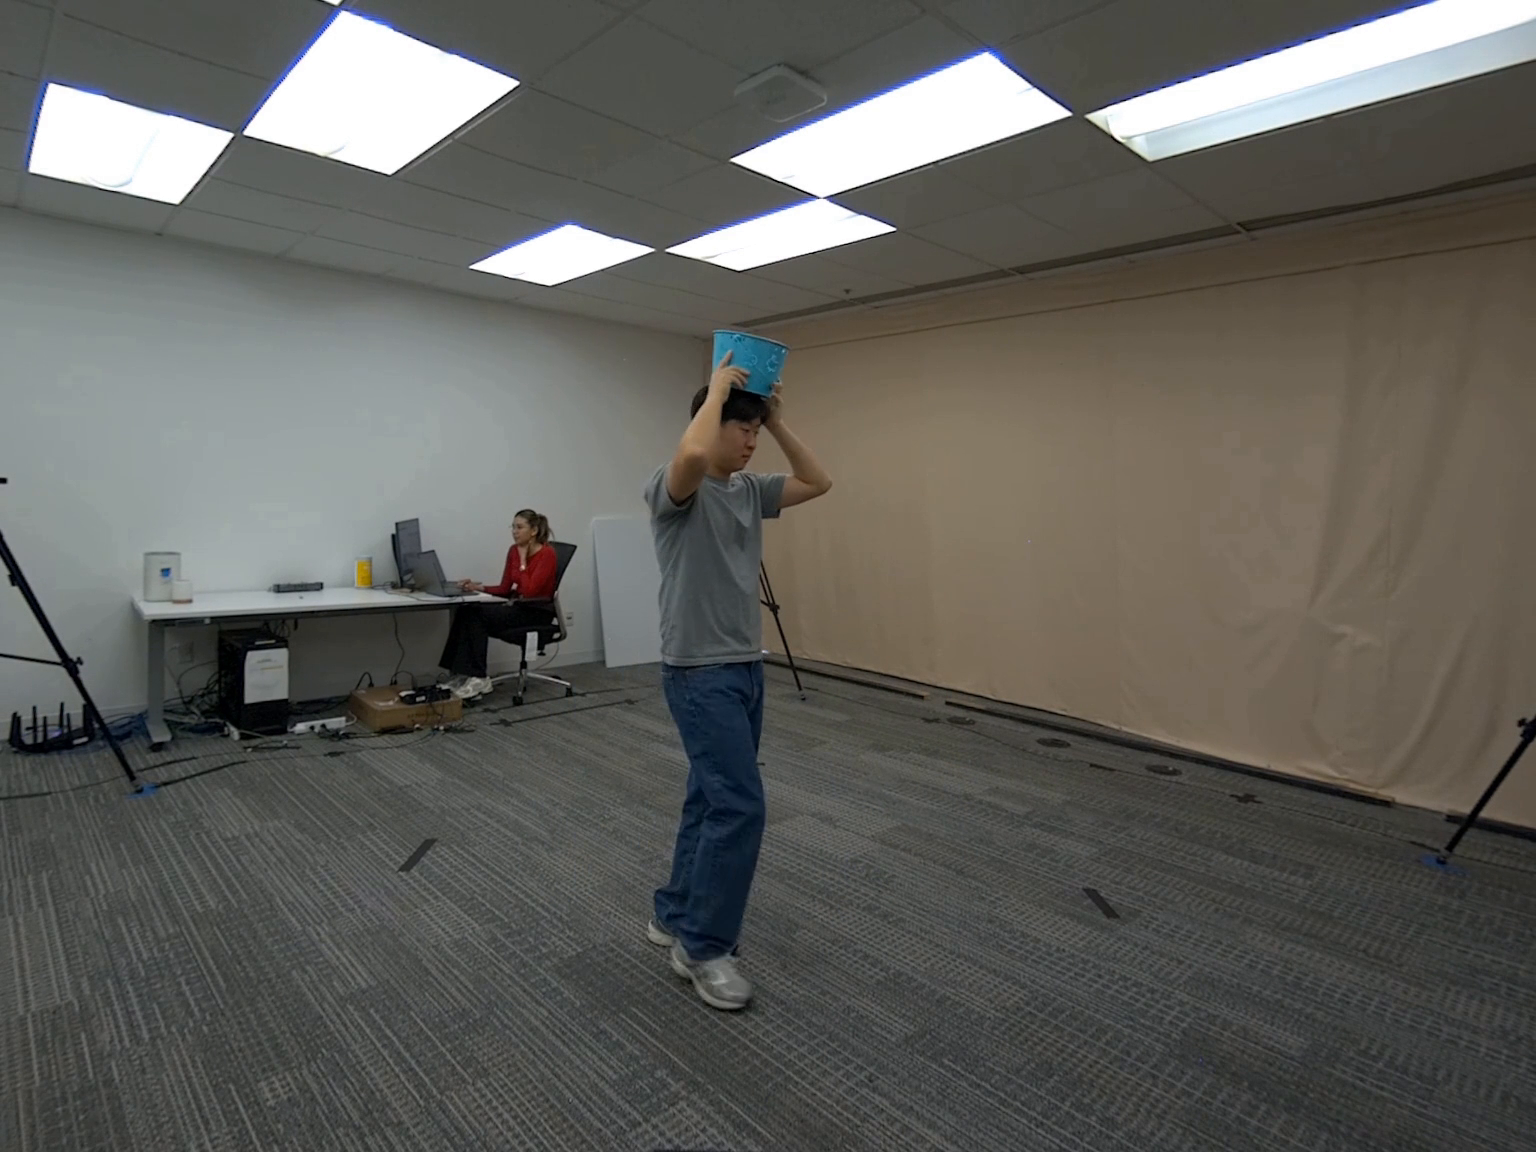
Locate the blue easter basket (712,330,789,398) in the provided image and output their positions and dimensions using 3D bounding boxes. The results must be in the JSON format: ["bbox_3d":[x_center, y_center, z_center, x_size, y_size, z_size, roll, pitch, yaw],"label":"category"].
[{"bbox_3d":[-0.068,-0.617,2.468,0.243,0.155,0.245,12,9,-3],"label":"blue easter basket"}]
